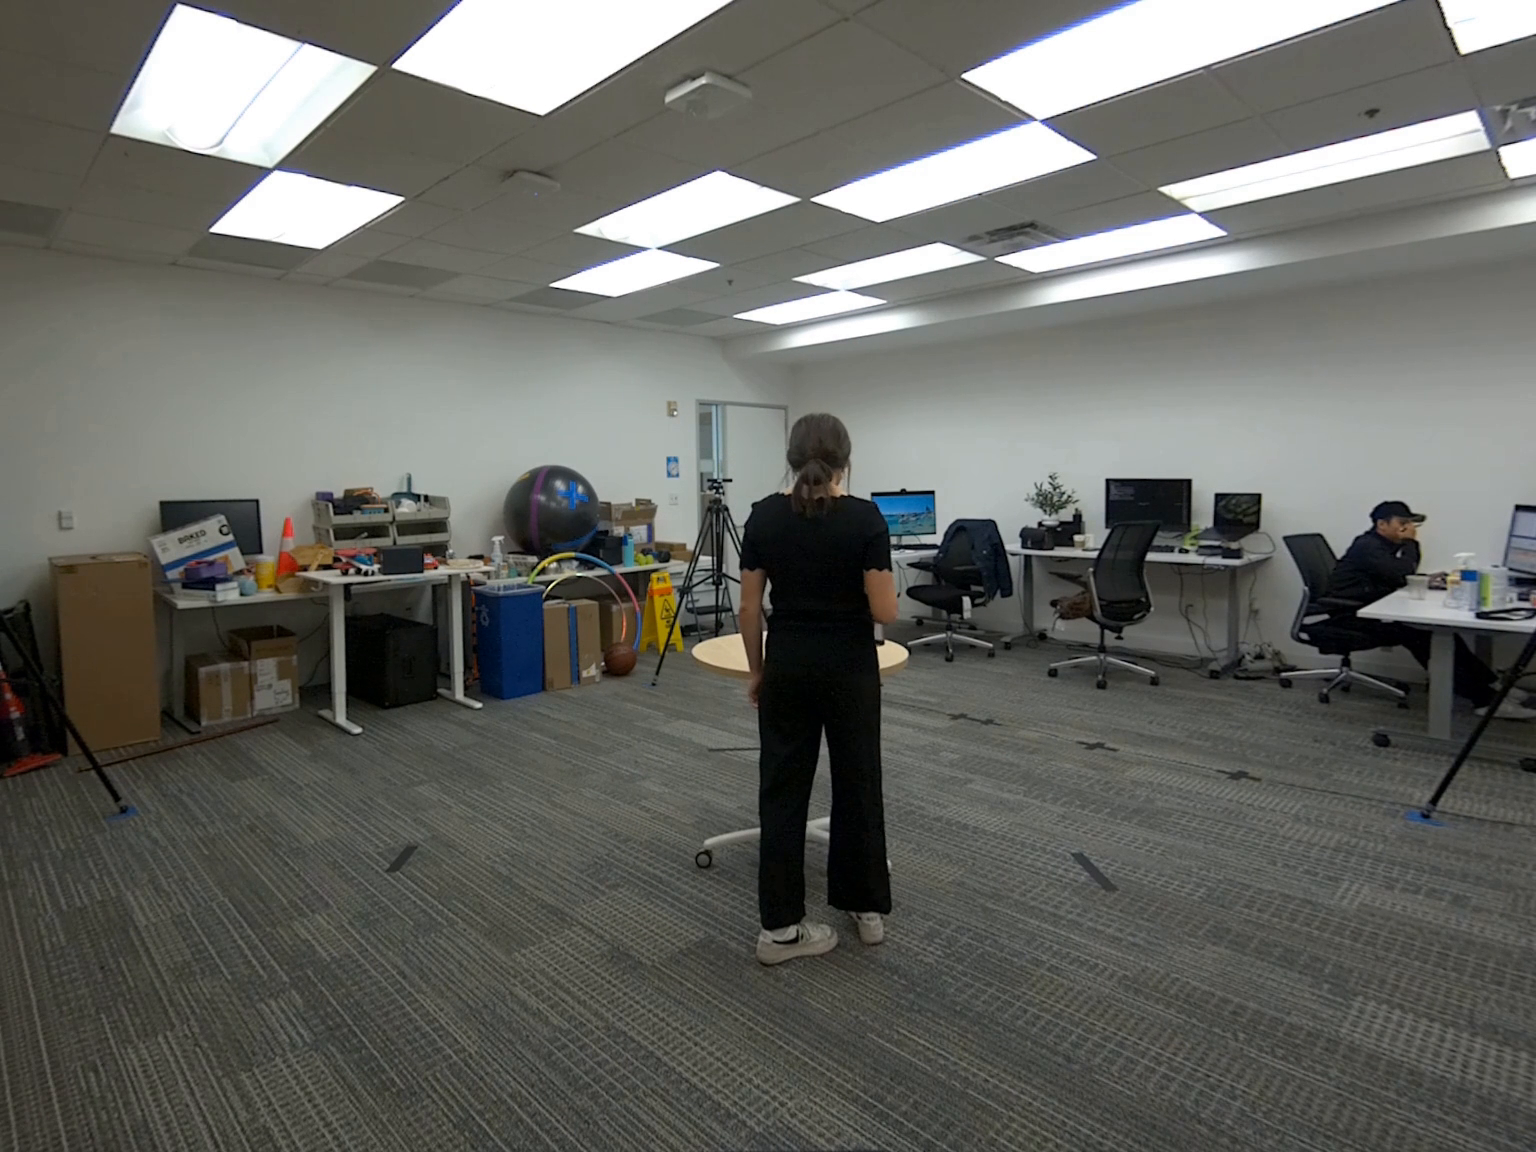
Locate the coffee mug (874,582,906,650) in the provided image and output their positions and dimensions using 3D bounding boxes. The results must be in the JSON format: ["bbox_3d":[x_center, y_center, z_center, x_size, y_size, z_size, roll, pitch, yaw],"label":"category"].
[{"bbox_3d":[0.359,0.126,2.719,0.090,0.205,0.118,-11,-11,31],"label":"coffee mug"}]
